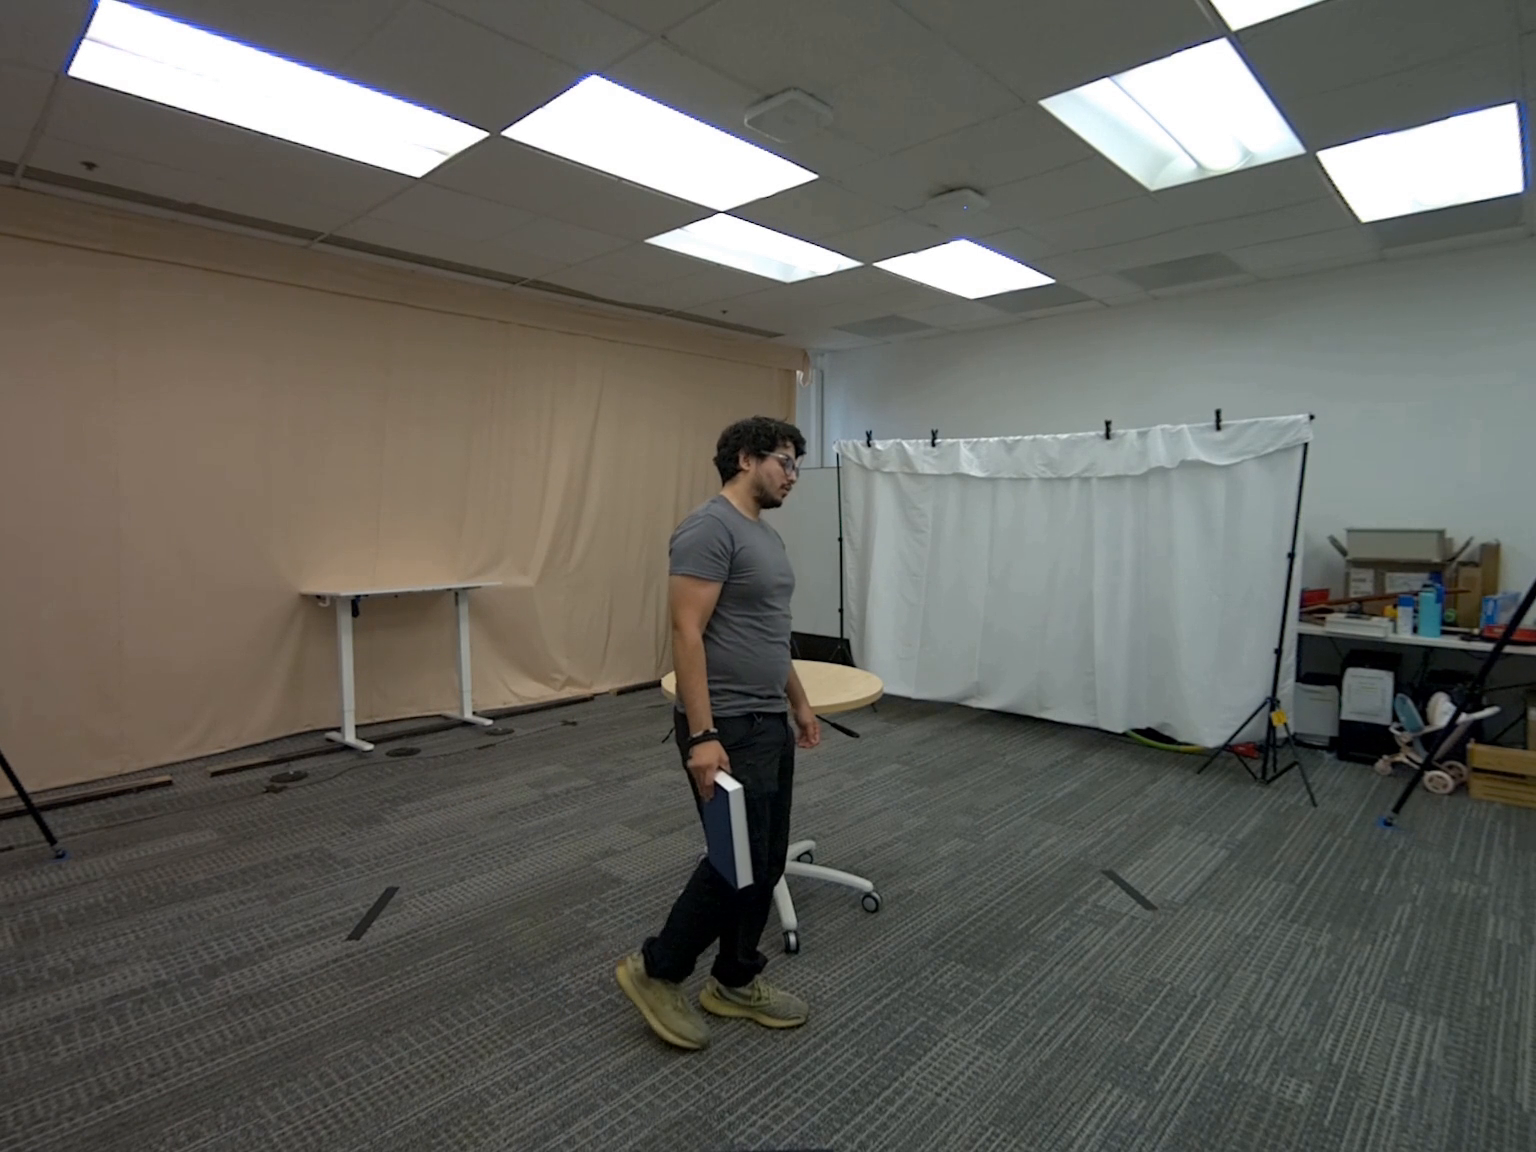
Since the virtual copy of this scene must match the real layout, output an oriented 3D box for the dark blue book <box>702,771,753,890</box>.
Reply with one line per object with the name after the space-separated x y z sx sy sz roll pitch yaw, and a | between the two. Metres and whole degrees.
-0.101 0.572 1.940 0.044 0.243 0.167 -7 11 -20 | dark blue book
